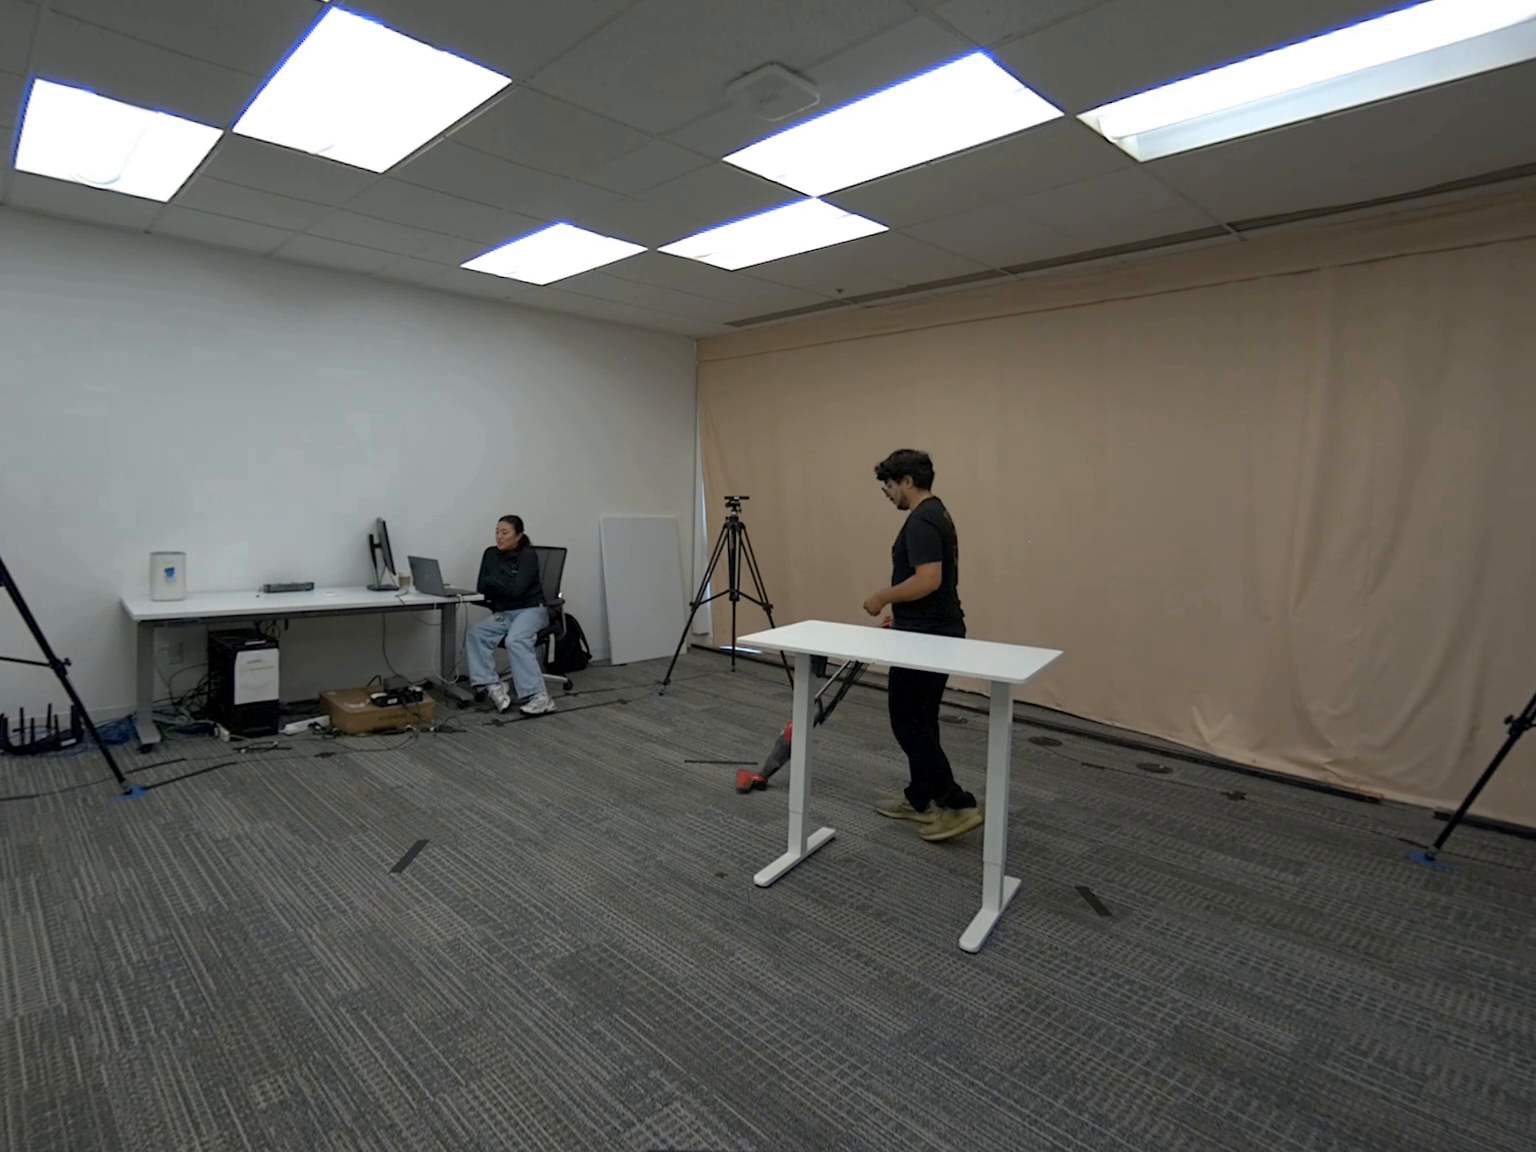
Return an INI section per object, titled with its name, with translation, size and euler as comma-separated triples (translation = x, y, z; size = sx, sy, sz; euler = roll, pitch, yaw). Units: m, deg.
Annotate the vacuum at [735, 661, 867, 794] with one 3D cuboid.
[vacuum]
translation = 0.247, 0.620, 4.059
size = 0.144, 1.049, 0.253
euler = 41, 3, -3
